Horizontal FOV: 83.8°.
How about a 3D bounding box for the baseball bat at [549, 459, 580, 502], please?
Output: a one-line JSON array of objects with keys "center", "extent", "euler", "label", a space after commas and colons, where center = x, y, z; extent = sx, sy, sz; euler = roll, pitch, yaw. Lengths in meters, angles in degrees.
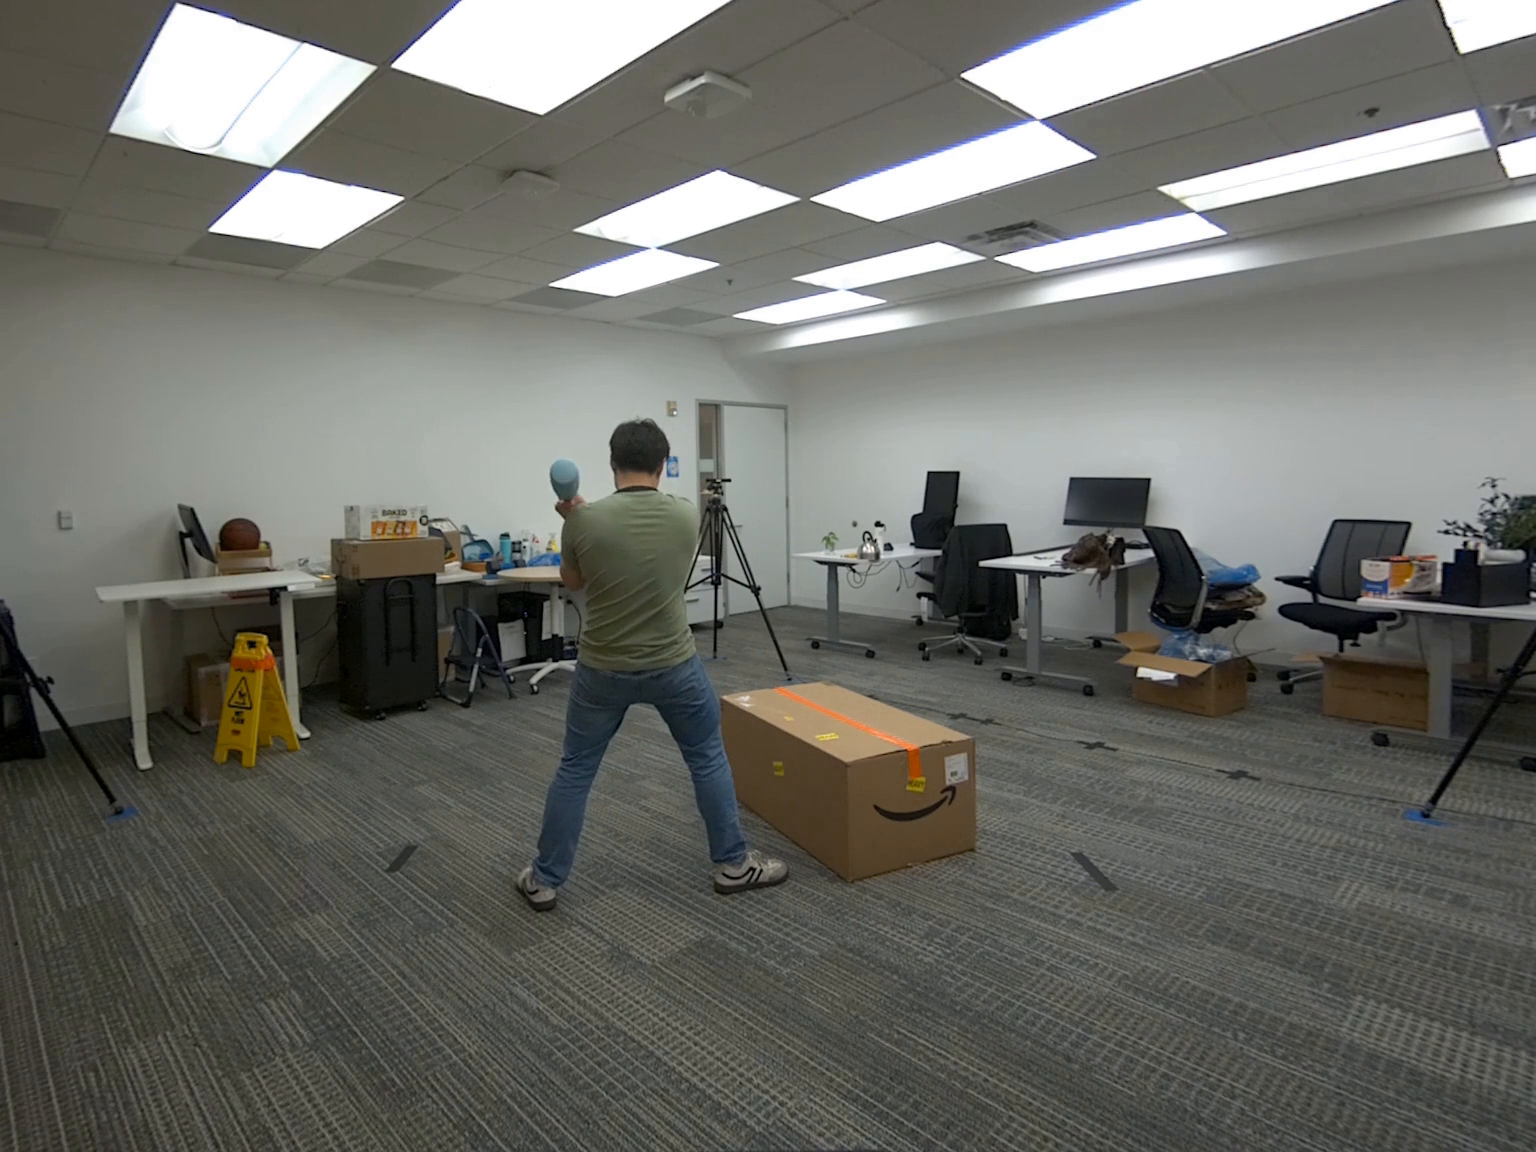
[{"center": [-0.639, -0.283, 2.797], "extent": [0.088, 0.090, 0.541], "euler": [-1, -7, -6], "label": "baseball bat"}]
